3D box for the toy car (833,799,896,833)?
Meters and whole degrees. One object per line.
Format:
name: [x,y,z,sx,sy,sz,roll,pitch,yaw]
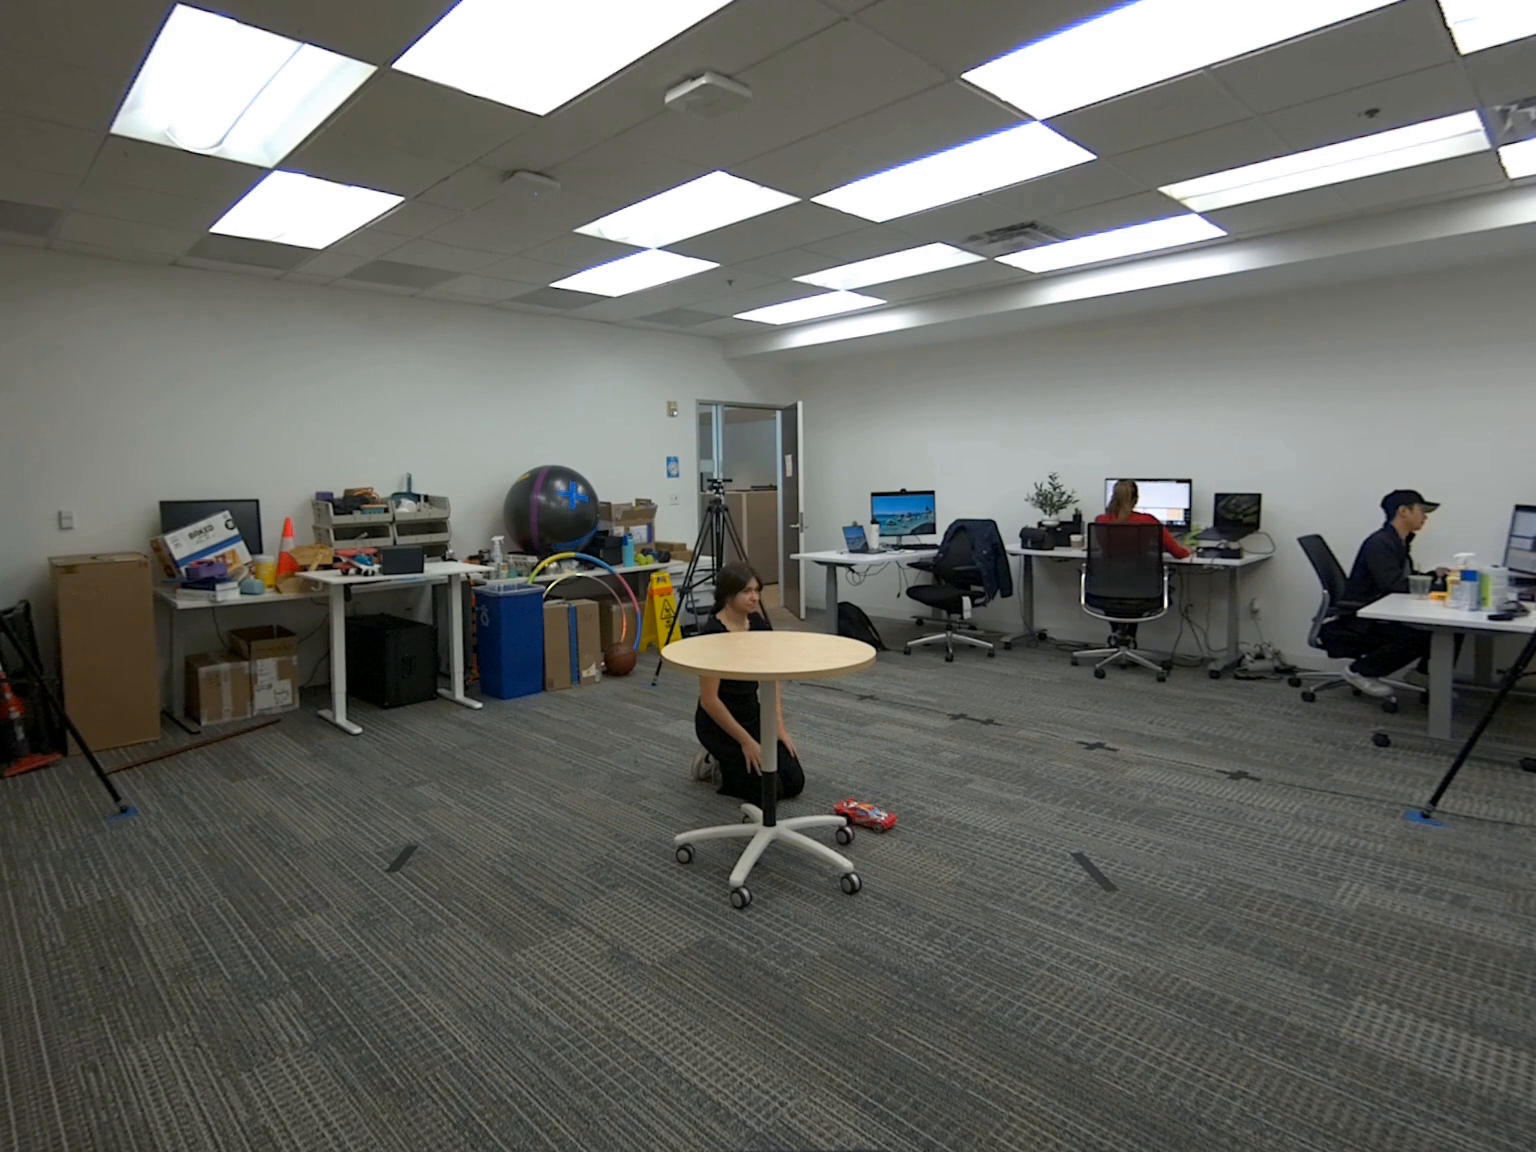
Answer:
toy car: [0.387,0.969,3.456,0.263,0.082,0.127,17,16,36]
